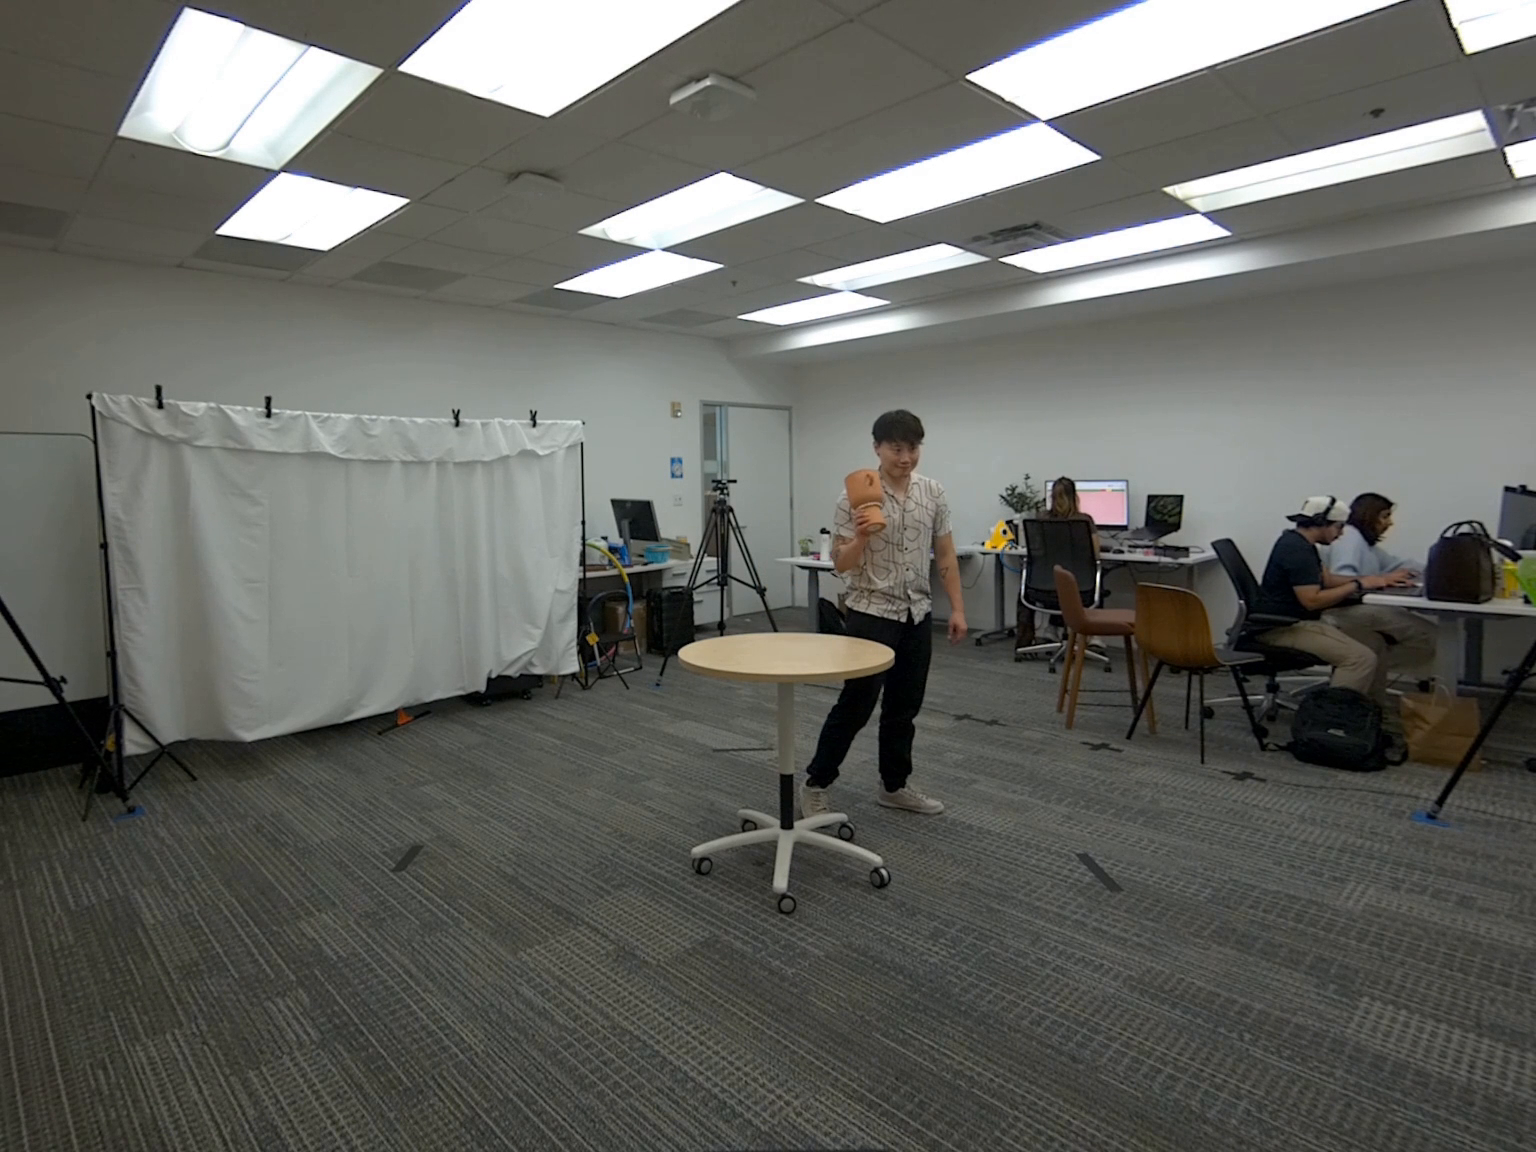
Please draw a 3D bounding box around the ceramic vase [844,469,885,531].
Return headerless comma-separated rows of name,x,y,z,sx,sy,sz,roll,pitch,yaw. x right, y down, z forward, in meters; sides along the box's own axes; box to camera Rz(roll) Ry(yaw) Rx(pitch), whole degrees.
ceramic vase,0.376,-0.276,3.217,0.136,0.225,0.153,-21,-24,24
